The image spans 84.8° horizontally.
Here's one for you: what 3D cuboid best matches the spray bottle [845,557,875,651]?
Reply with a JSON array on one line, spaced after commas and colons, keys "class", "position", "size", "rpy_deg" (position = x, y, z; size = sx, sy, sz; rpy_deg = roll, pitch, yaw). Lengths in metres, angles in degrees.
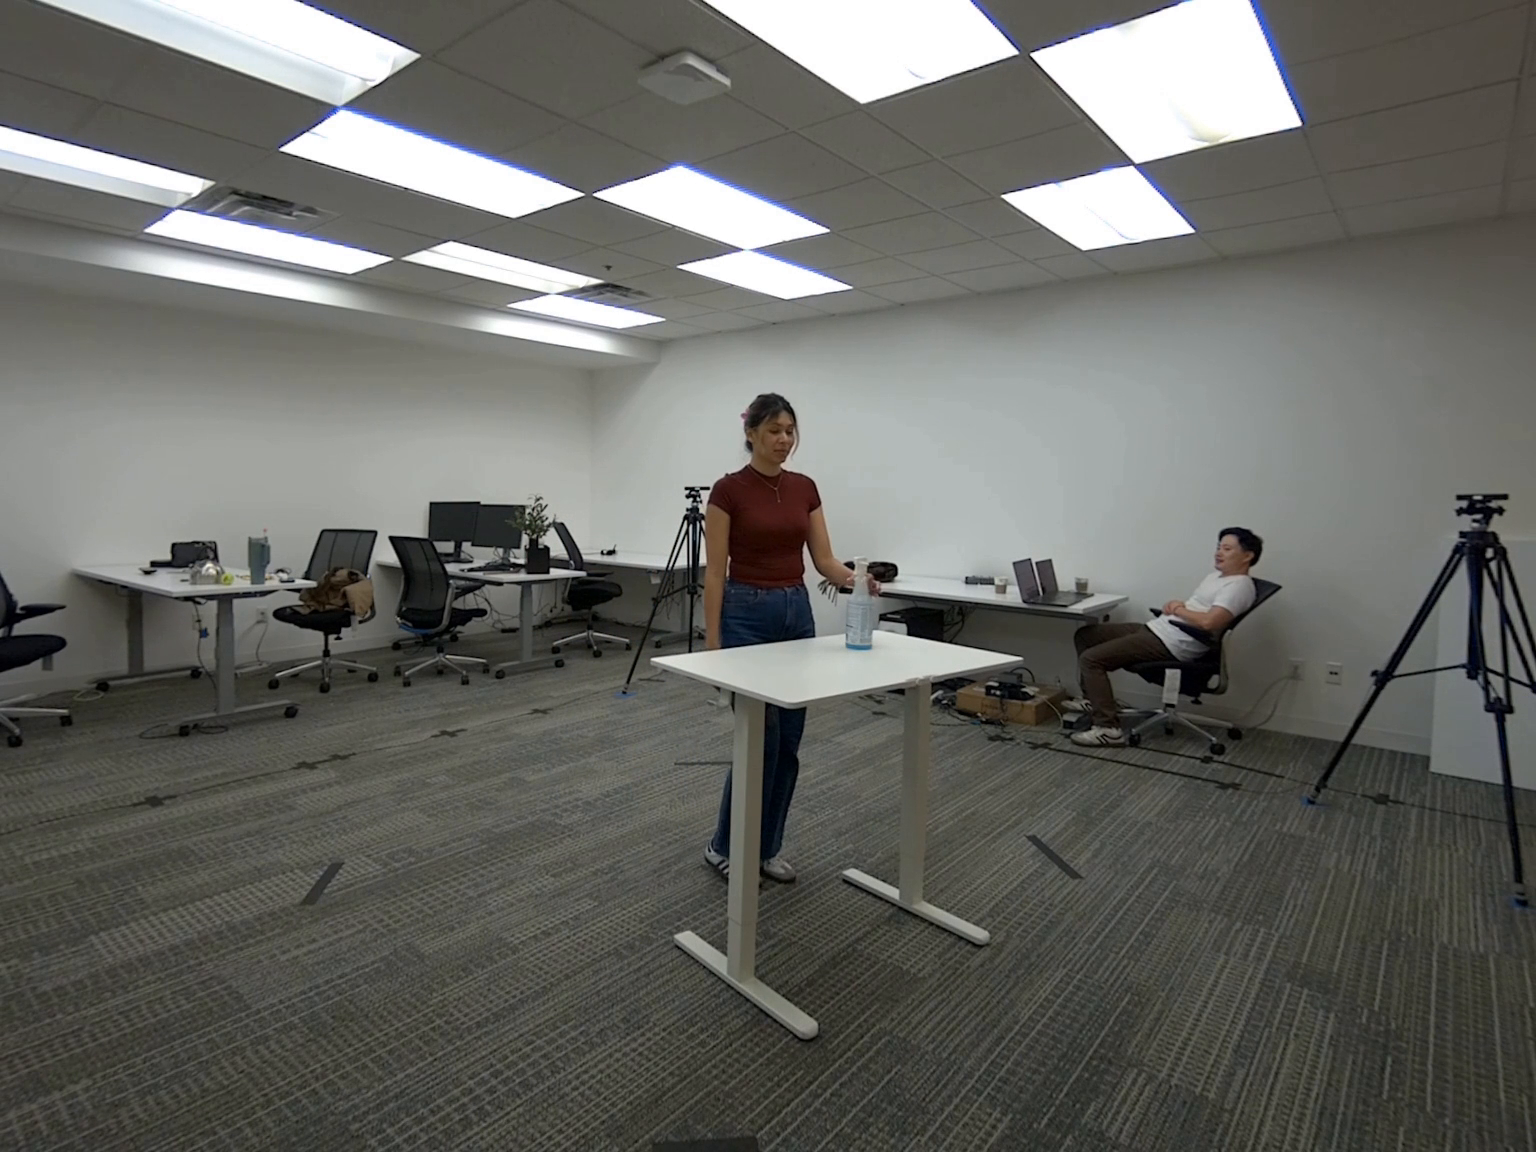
[{"class": "spray bottle", "position": [0.288, 0.087, 2.738], "size": [0.088, 0.296, 0.090], "rpy_deg": [-3, 6, -31]}]
